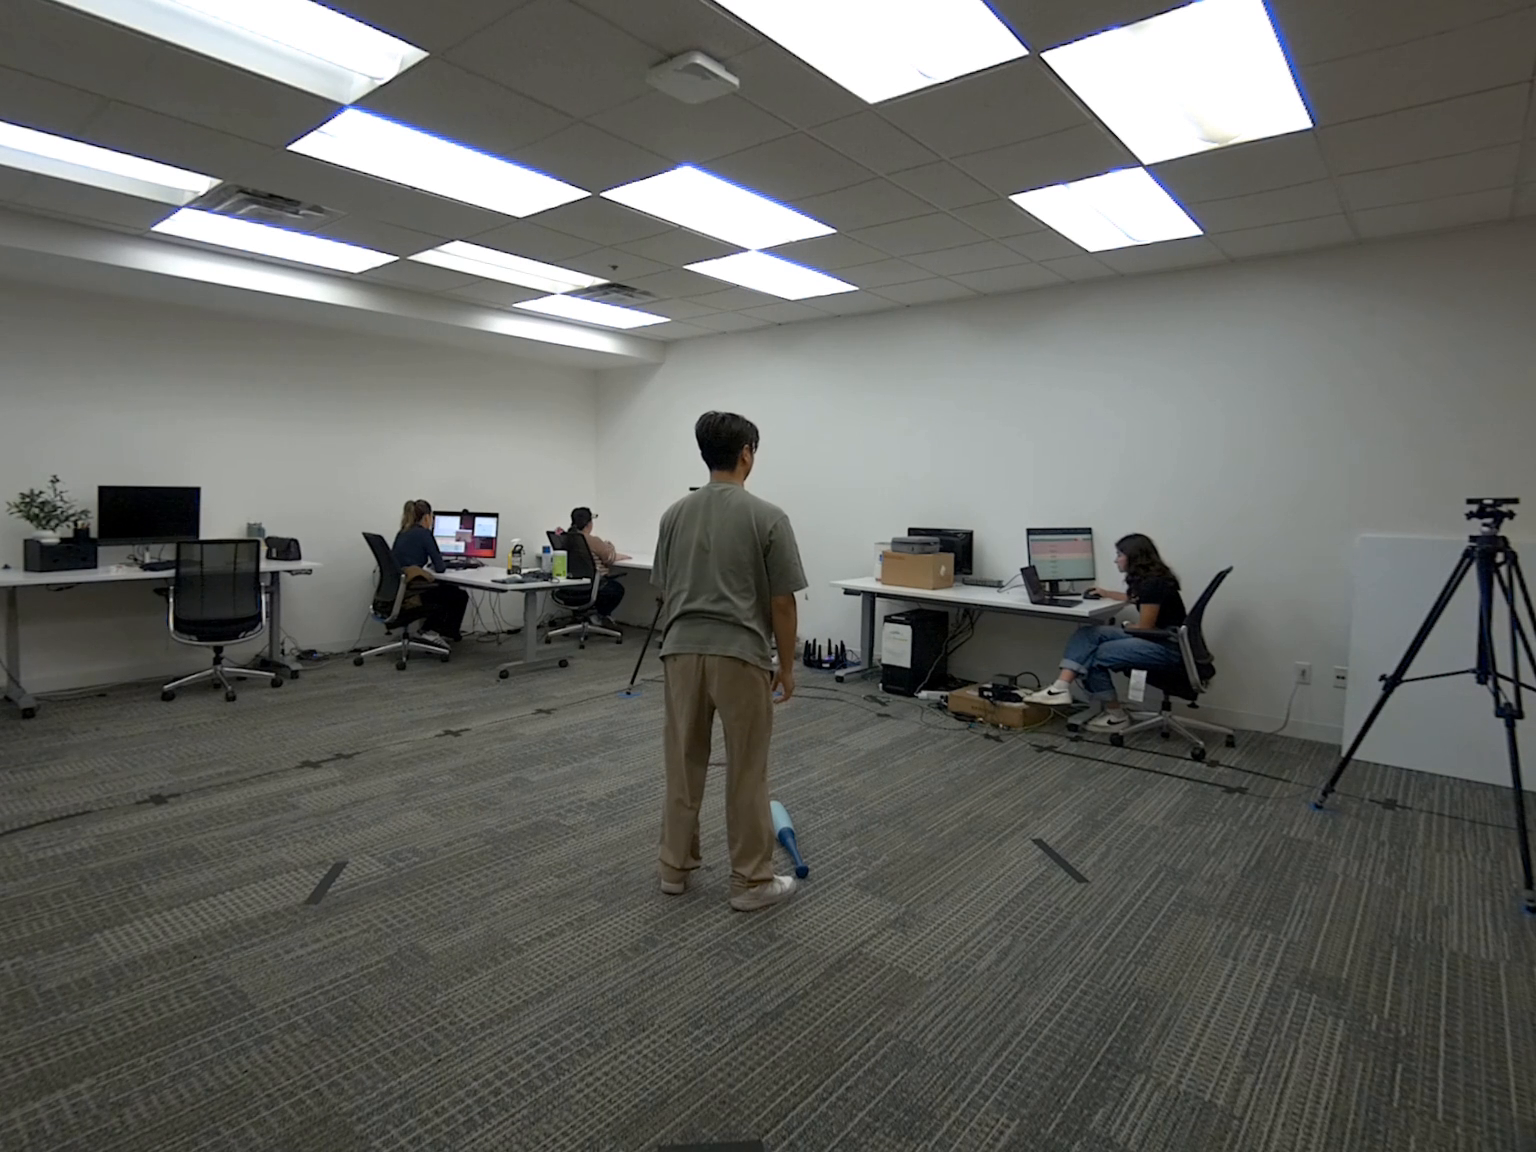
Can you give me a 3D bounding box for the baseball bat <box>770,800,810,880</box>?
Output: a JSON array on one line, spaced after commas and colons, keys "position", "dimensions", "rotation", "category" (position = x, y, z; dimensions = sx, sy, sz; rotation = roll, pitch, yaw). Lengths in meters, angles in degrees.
[{"position": [0.066, 1.015, 3.305], "dimensions": [0.088, 0.088, 0.551], "rotation": [0, 8, -10], "category": "baseball bat"}]
